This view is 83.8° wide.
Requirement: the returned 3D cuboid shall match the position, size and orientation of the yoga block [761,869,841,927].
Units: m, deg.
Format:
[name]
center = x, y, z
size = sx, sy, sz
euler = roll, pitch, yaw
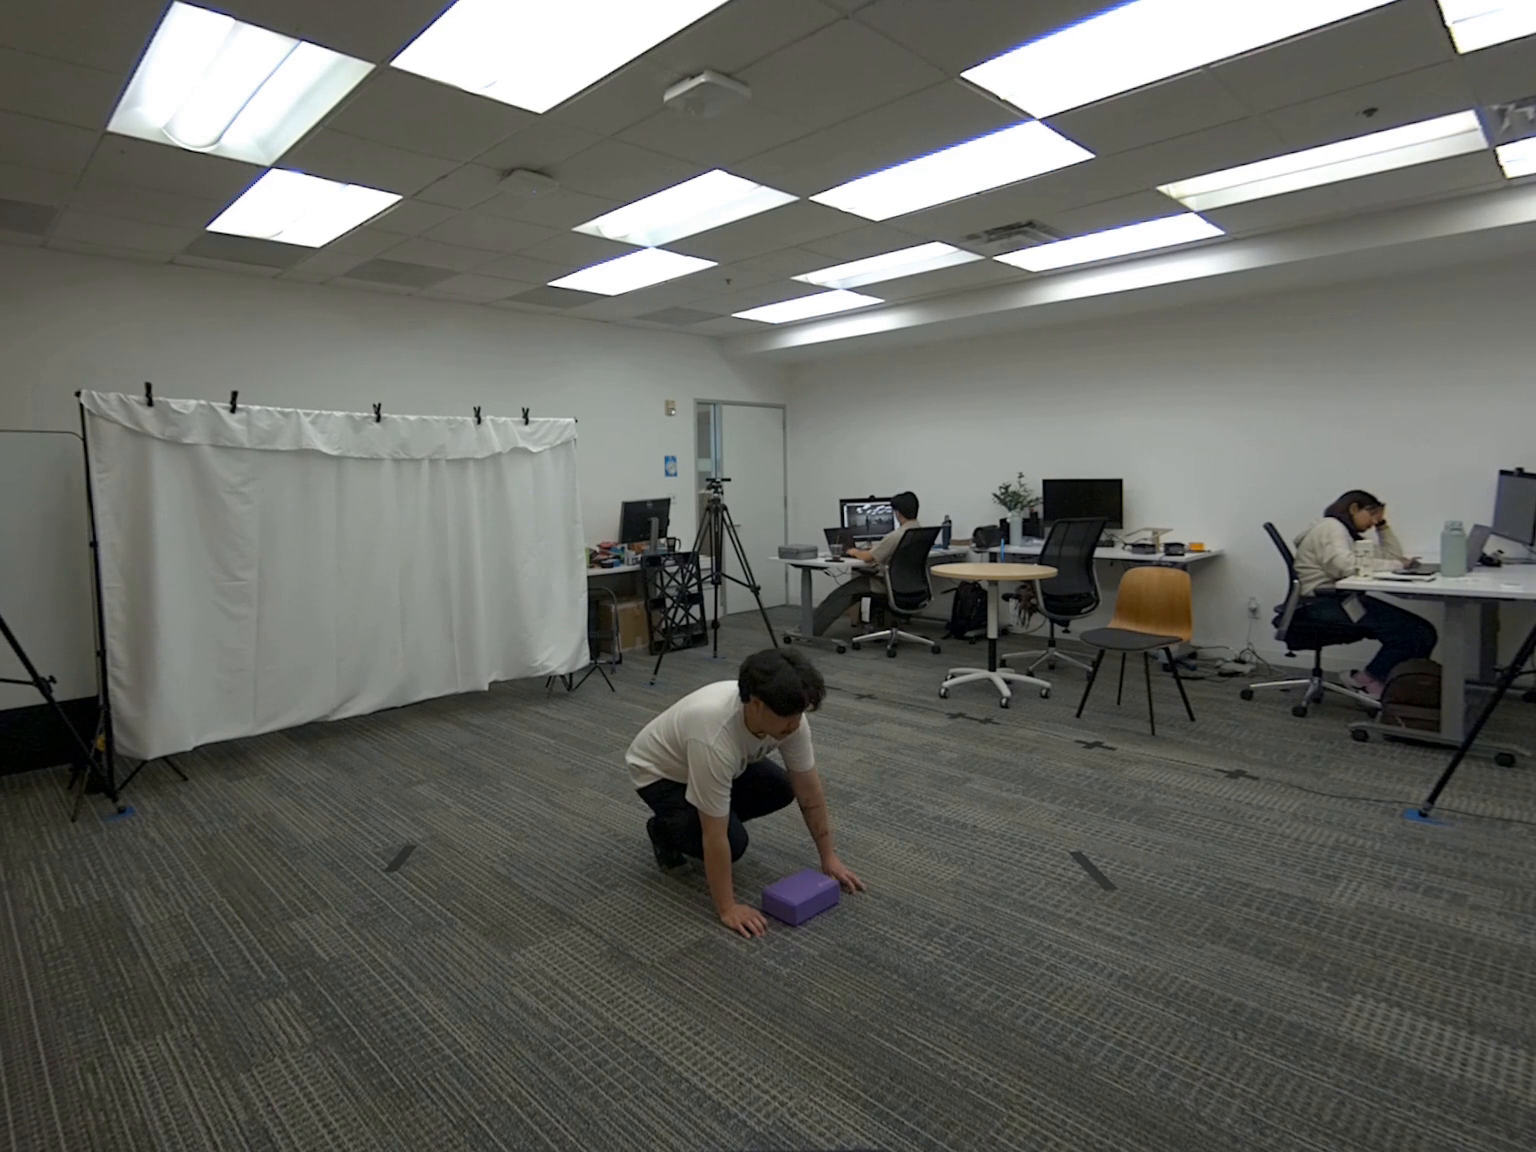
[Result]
[yoga block]
center = 0.101, 1.031, 2.778
size = 0.223, 0.076, 0.154
euler = -6, 9, -43
